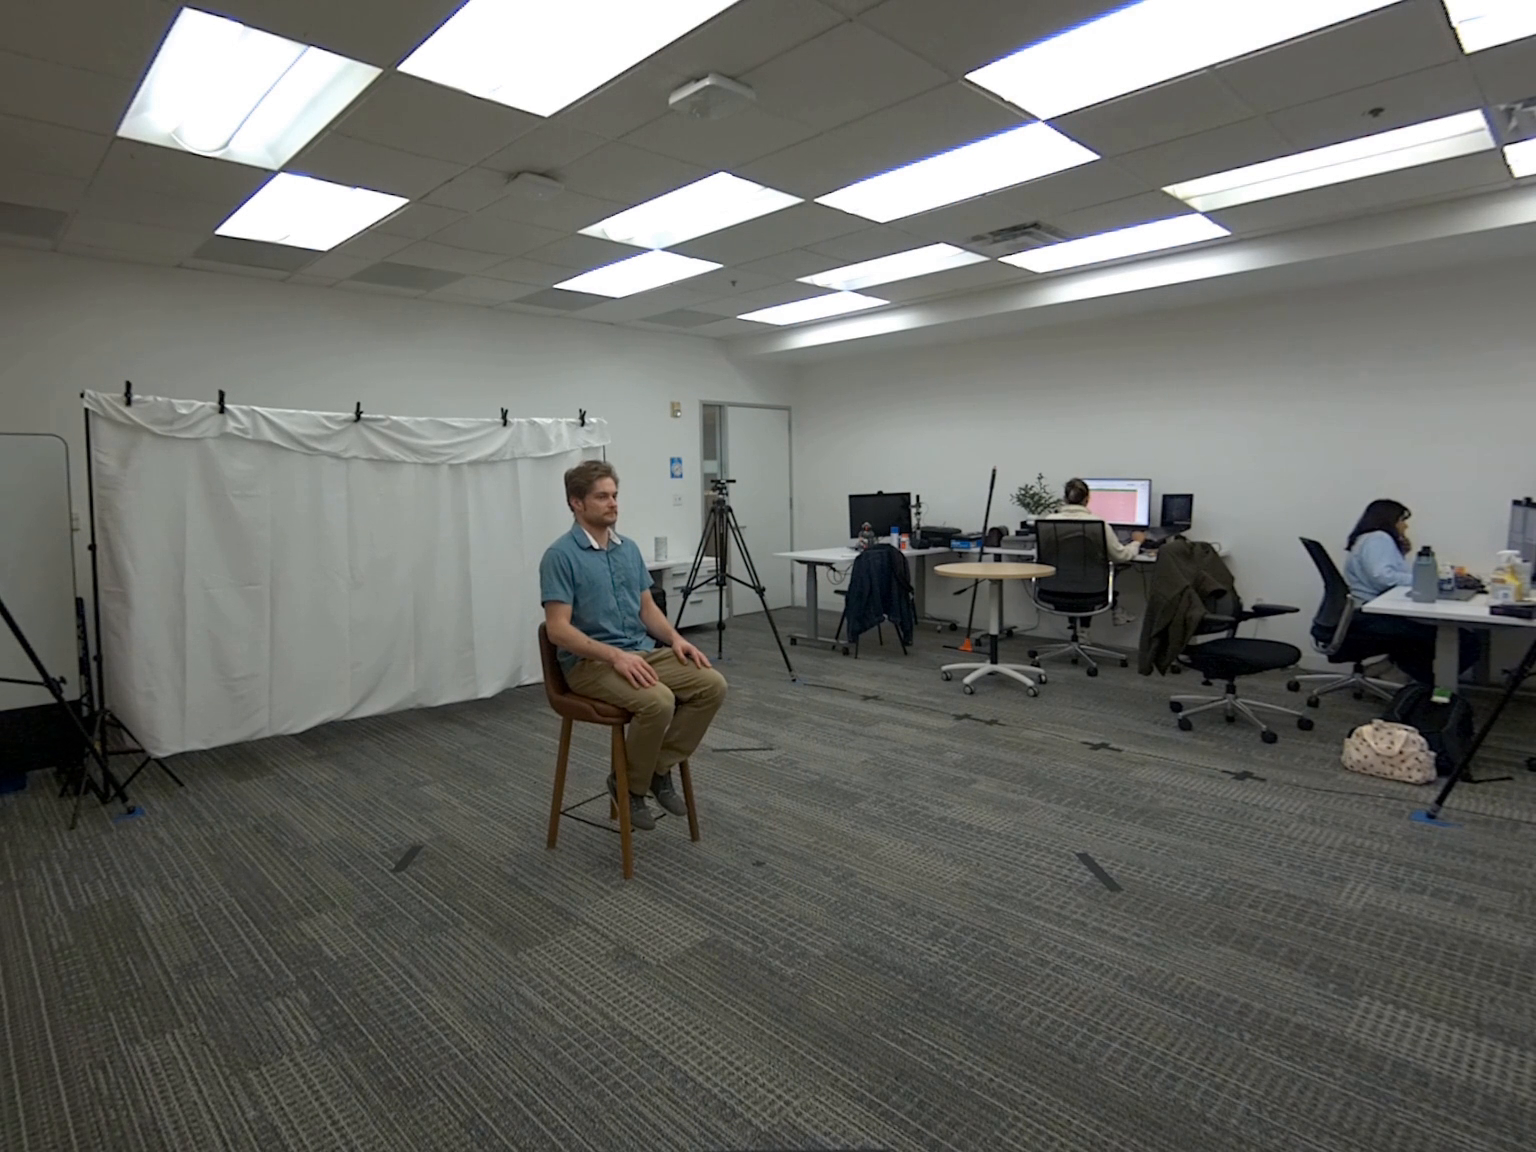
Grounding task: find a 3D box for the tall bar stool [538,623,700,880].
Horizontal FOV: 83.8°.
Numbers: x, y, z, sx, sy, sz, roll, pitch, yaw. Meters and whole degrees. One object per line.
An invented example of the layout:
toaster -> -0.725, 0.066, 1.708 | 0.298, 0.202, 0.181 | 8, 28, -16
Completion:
tall bar stool -> -0.579, 0.600, 3.284 | 0.480, 0.888, 0.445 | -1, 2, 36
